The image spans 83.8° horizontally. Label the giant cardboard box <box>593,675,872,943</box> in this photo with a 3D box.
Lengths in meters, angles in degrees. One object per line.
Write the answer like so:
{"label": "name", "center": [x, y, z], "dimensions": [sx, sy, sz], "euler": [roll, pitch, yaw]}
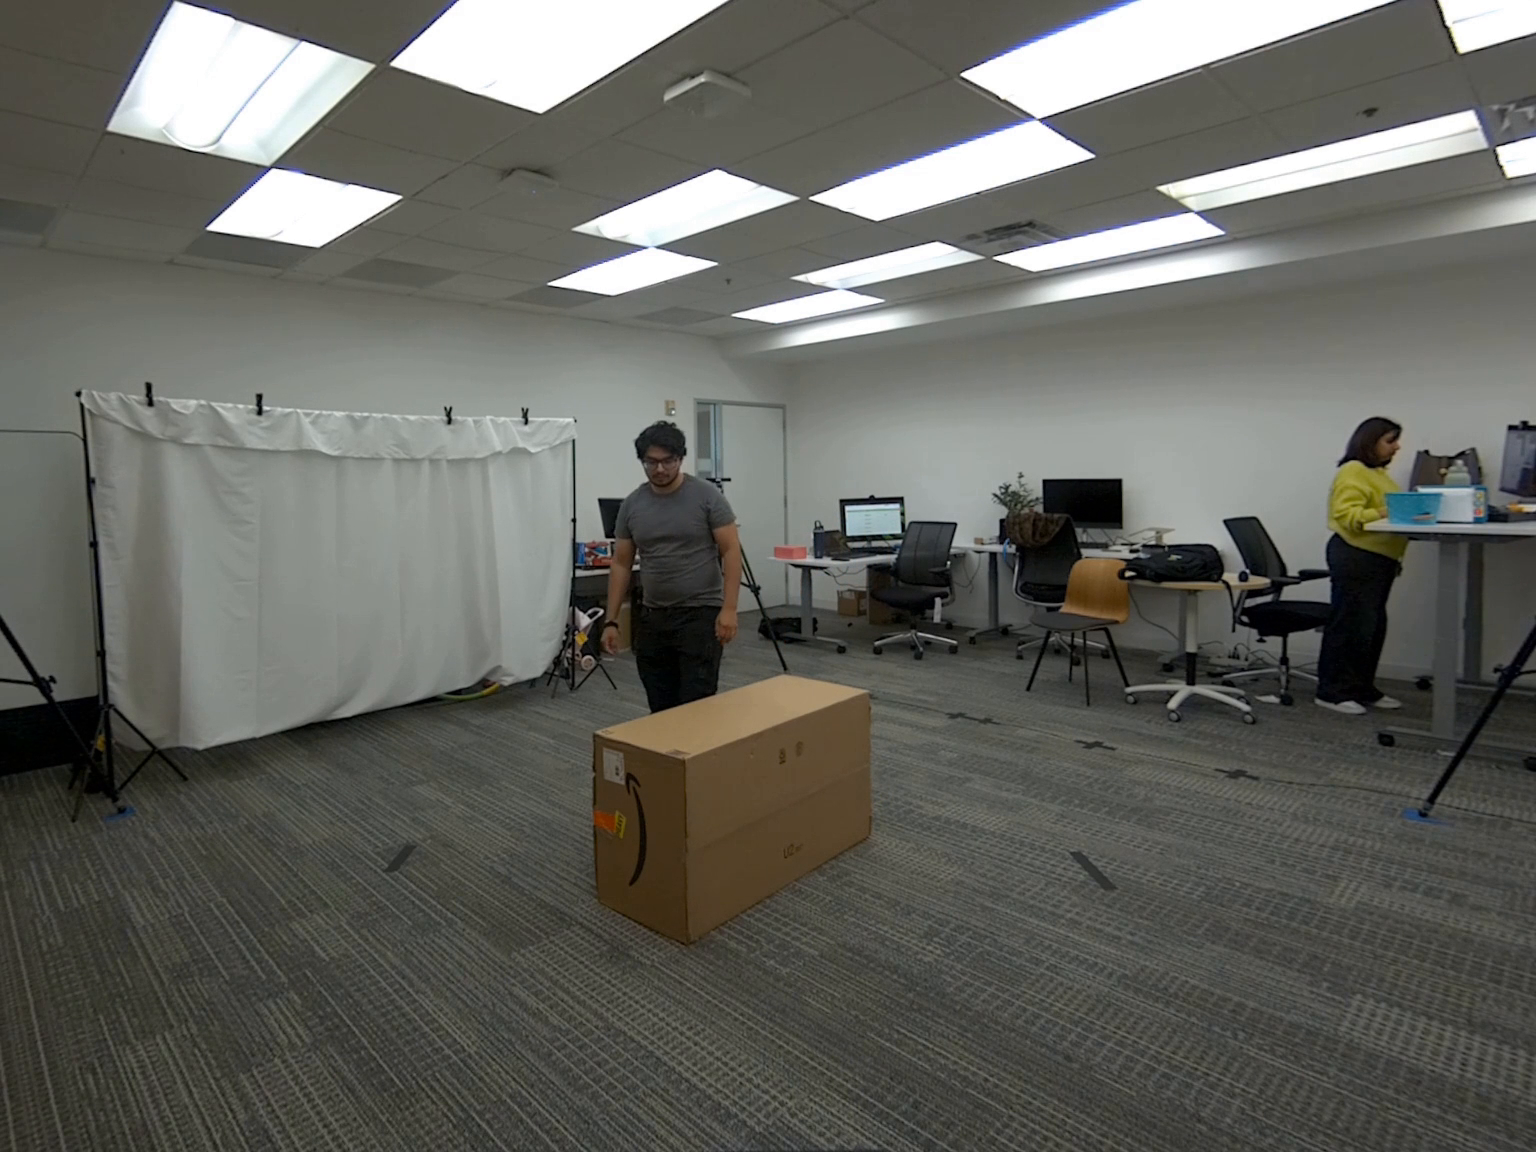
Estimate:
{"label": "giant cardboard box", "center": [-0.090, 0.757, 3.056], "dimensions": [0.439, 0.575, 1.000], "euler": [2, 6, 40]}
